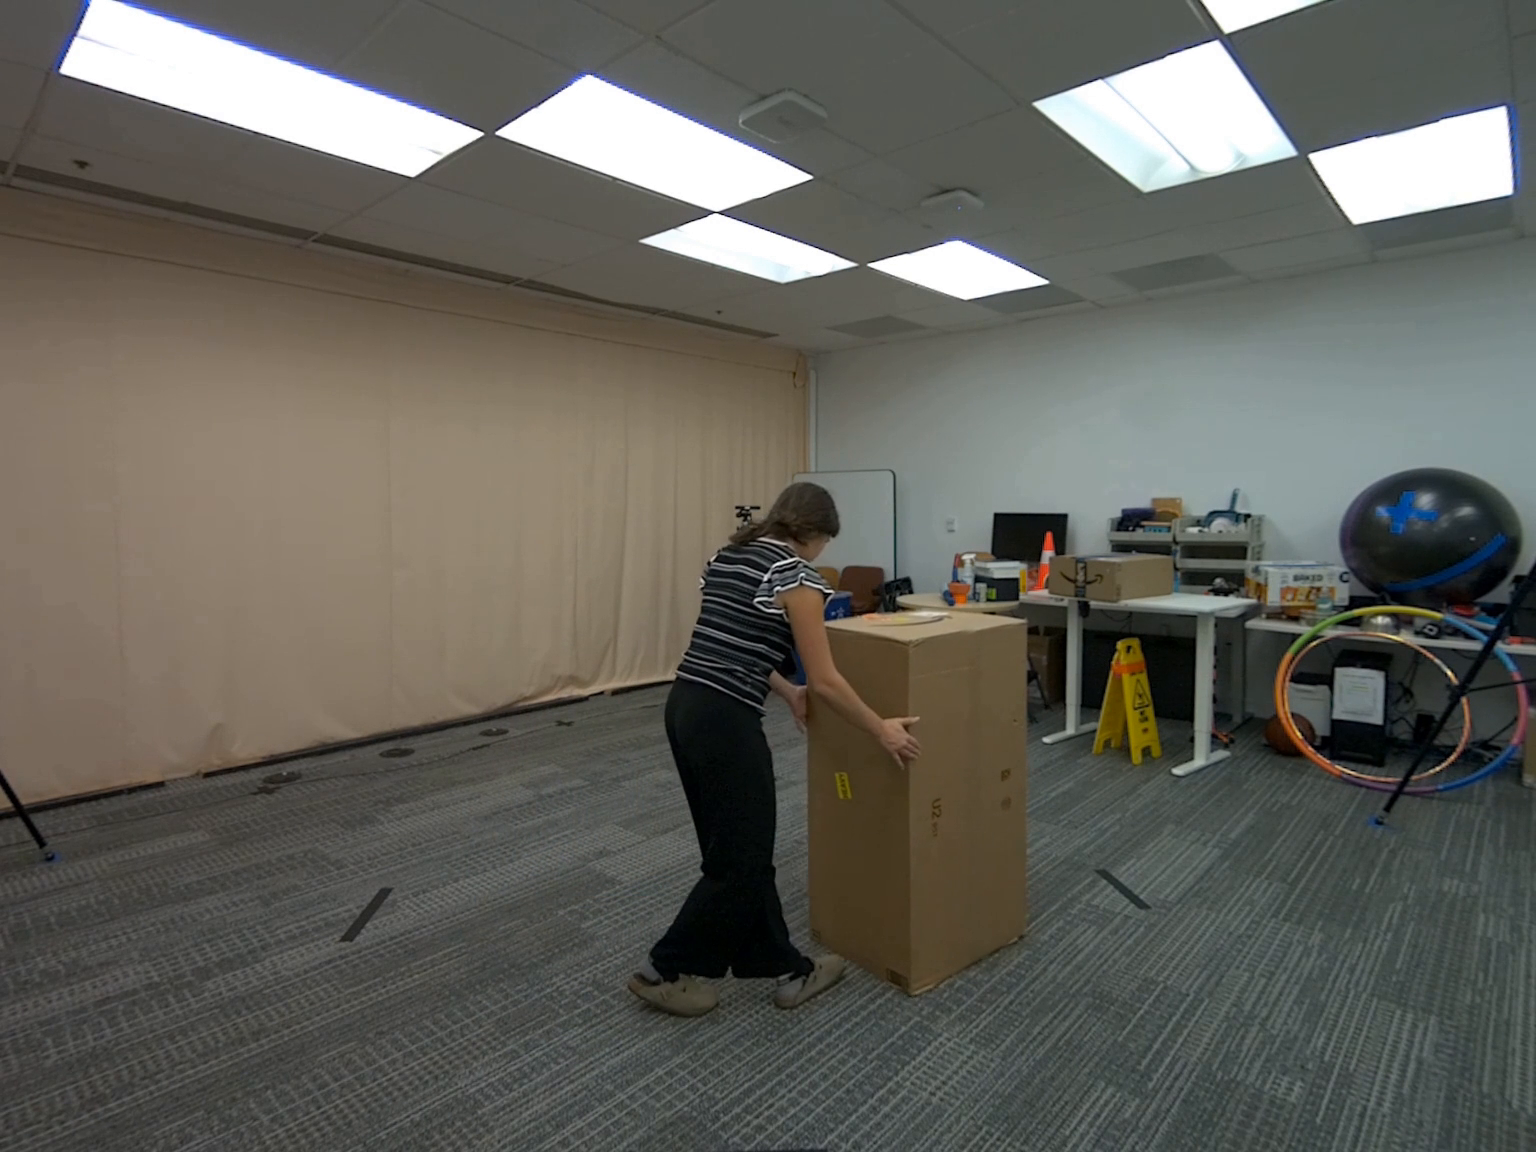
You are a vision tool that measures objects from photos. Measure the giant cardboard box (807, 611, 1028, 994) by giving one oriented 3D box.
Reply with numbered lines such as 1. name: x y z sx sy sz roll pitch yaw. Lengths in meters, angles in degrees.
1. giant cardboard box: 0.483 0.657 2.696 0.560 1.023 0.440 -3 5 -39
